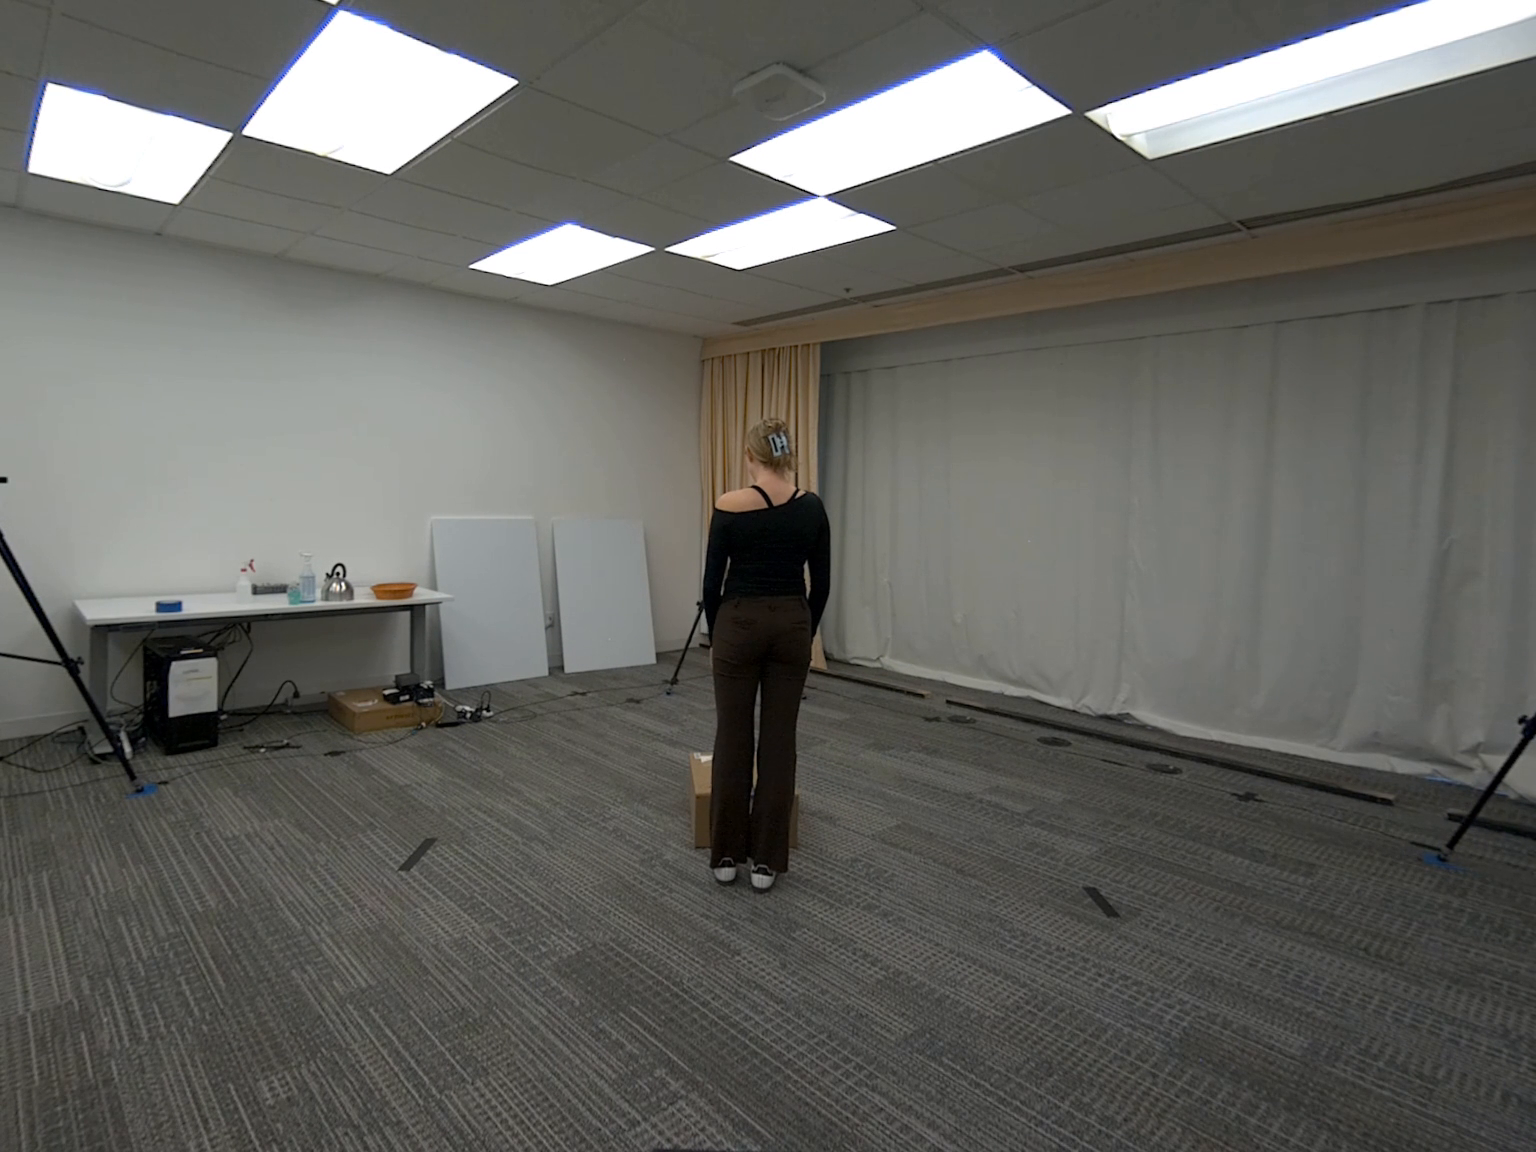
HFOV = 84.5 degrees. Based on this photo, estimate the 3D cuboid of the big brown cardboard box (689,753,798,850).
[{"bbox_3d":[-0.124,0.945,3.619,0.415,0.232,0.594,1,6,-7],"label":"big brown cardboard box"}]
